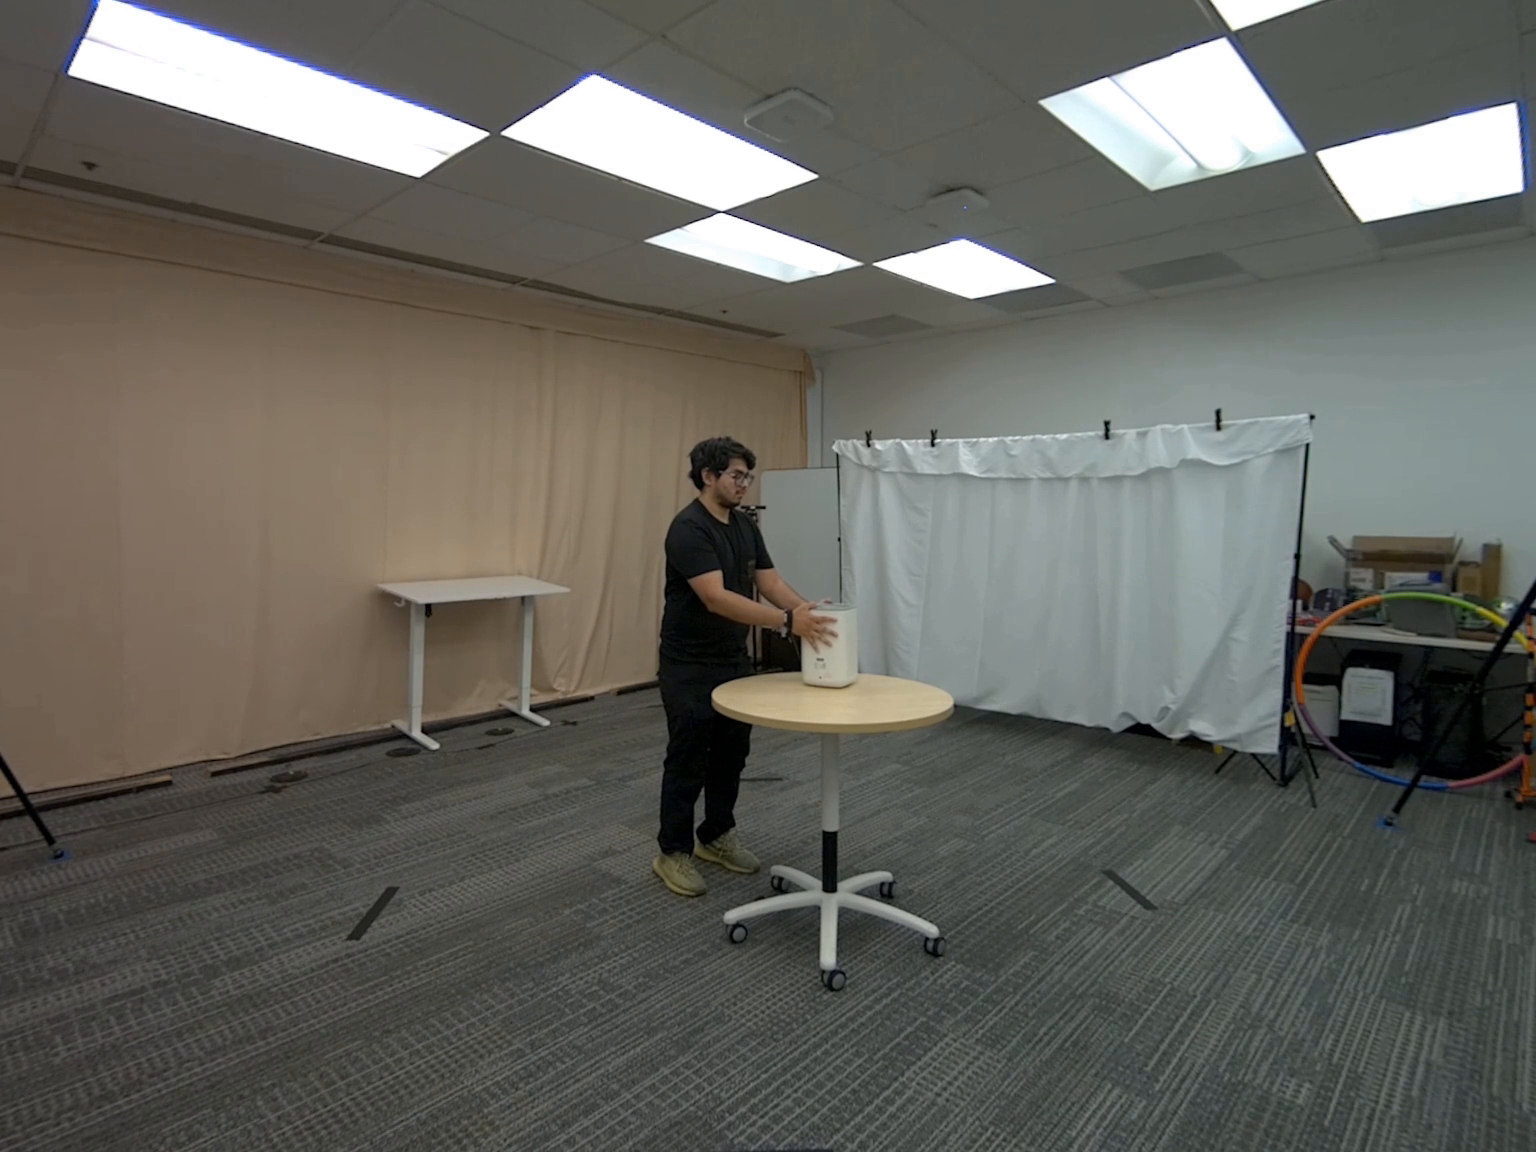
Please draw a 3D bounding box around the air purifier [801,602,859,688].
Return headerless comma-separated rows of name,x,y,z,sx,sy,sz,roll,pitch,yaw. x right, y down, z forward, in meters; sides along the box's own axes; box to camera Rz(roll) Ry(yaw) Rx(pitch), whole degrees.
air purifier,0.211,0.237,2.865,0.176,0.265,0.167,1,4,27
